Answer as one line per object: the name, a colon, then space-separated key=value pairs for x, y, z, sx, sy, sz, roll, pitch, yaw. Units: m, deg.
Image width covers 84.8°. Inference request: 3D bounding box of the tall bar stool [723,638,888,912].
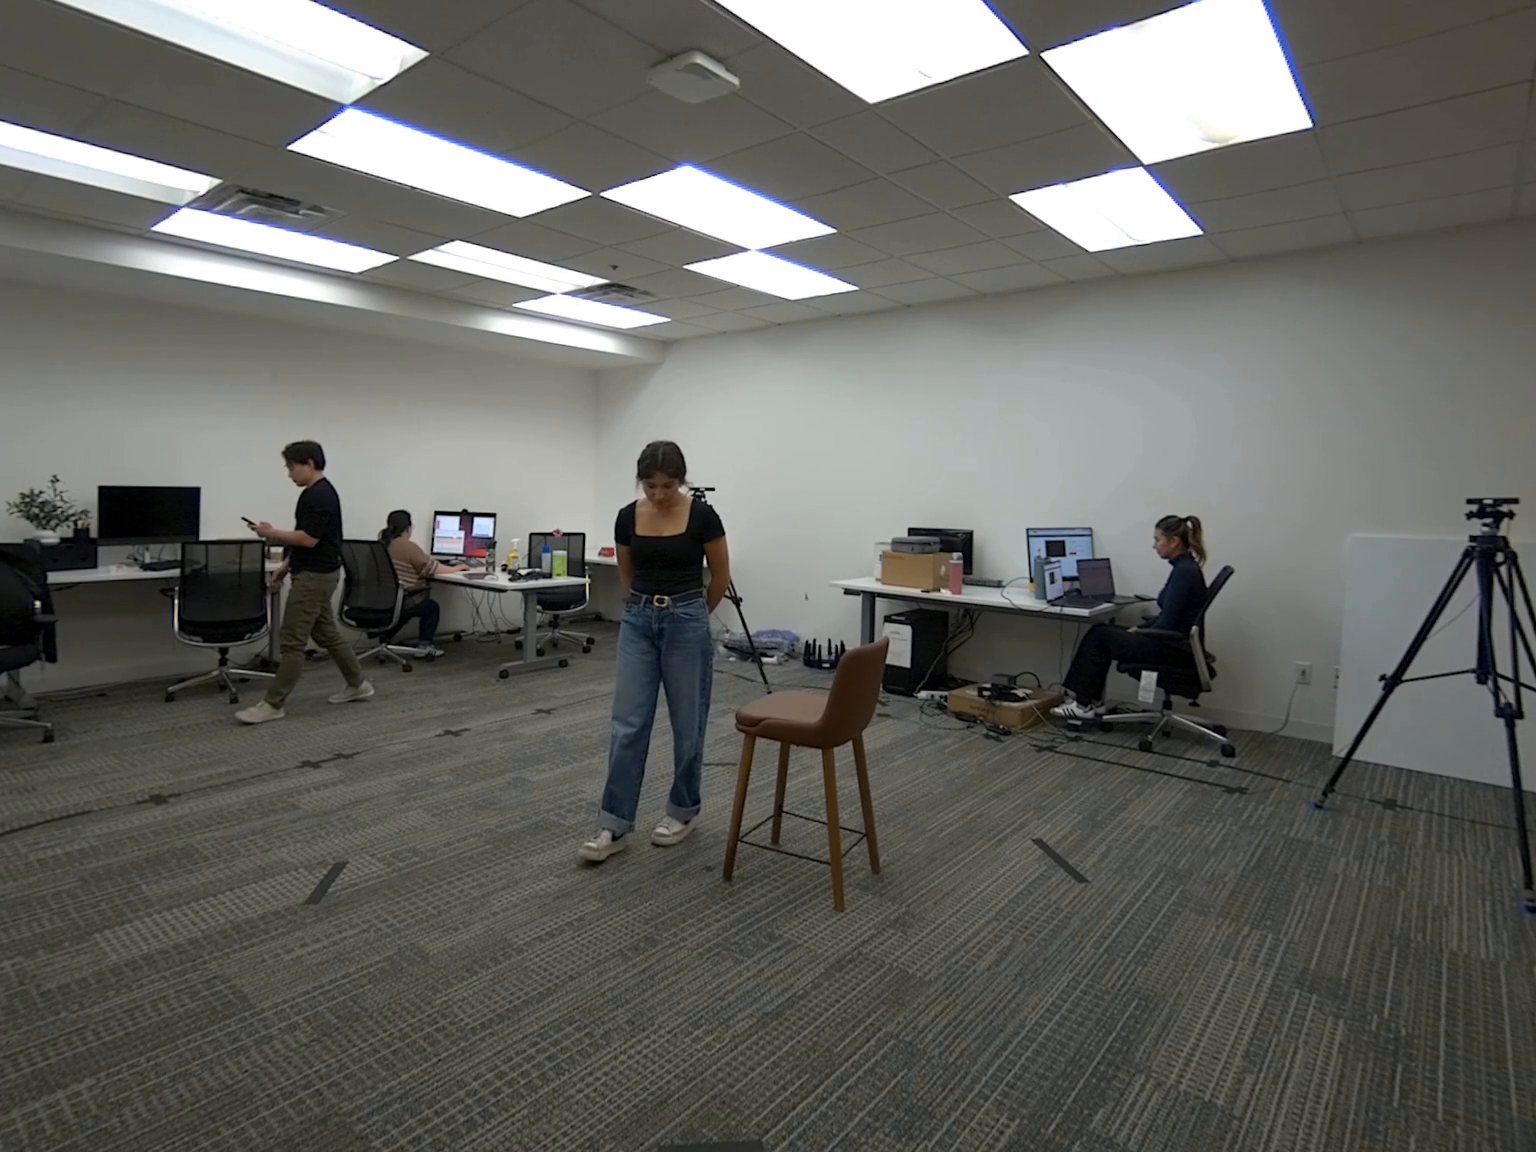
tall bar stool: x=0.139 y=0.644 z=3.050 sx=0.482 sy=0.886 sz=0.445 roll=5 pitch=5 yaw=29
